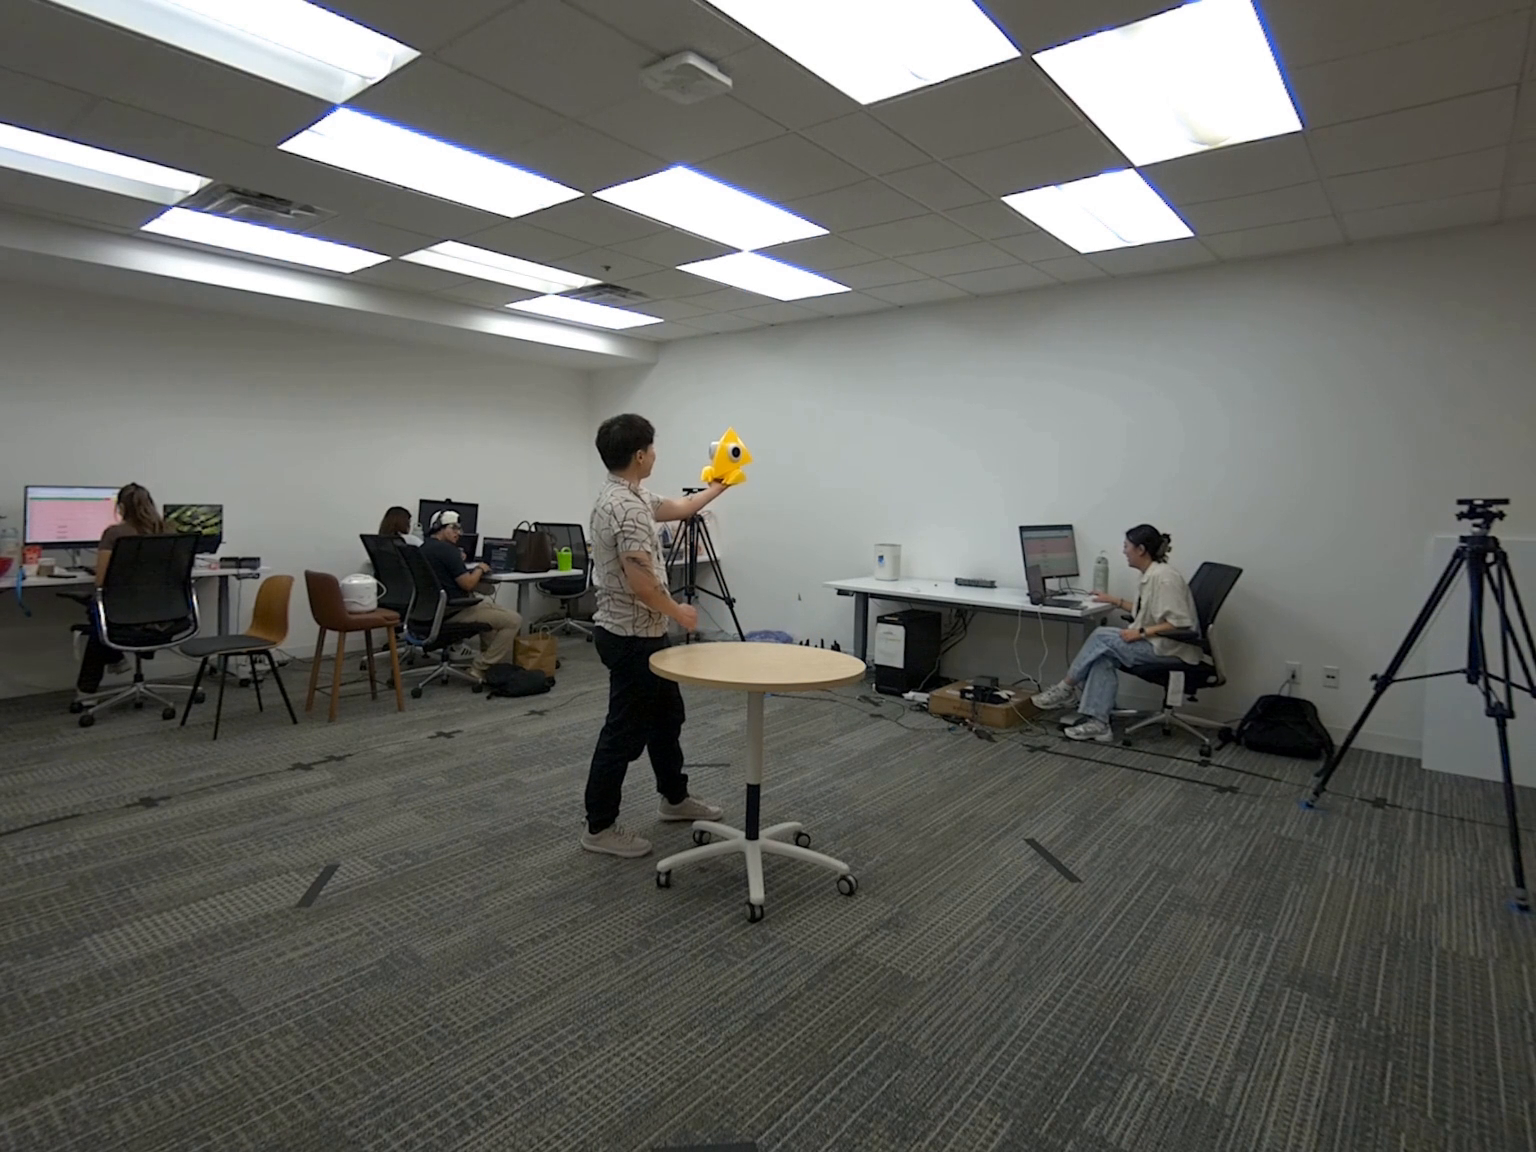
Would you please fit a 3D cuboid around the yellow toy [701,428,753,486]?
[{"bbox_3d":[-0.205,-0.544,3.787,0.210,0.227,0.190,8,17,25],"label":"yellow toy"}]
